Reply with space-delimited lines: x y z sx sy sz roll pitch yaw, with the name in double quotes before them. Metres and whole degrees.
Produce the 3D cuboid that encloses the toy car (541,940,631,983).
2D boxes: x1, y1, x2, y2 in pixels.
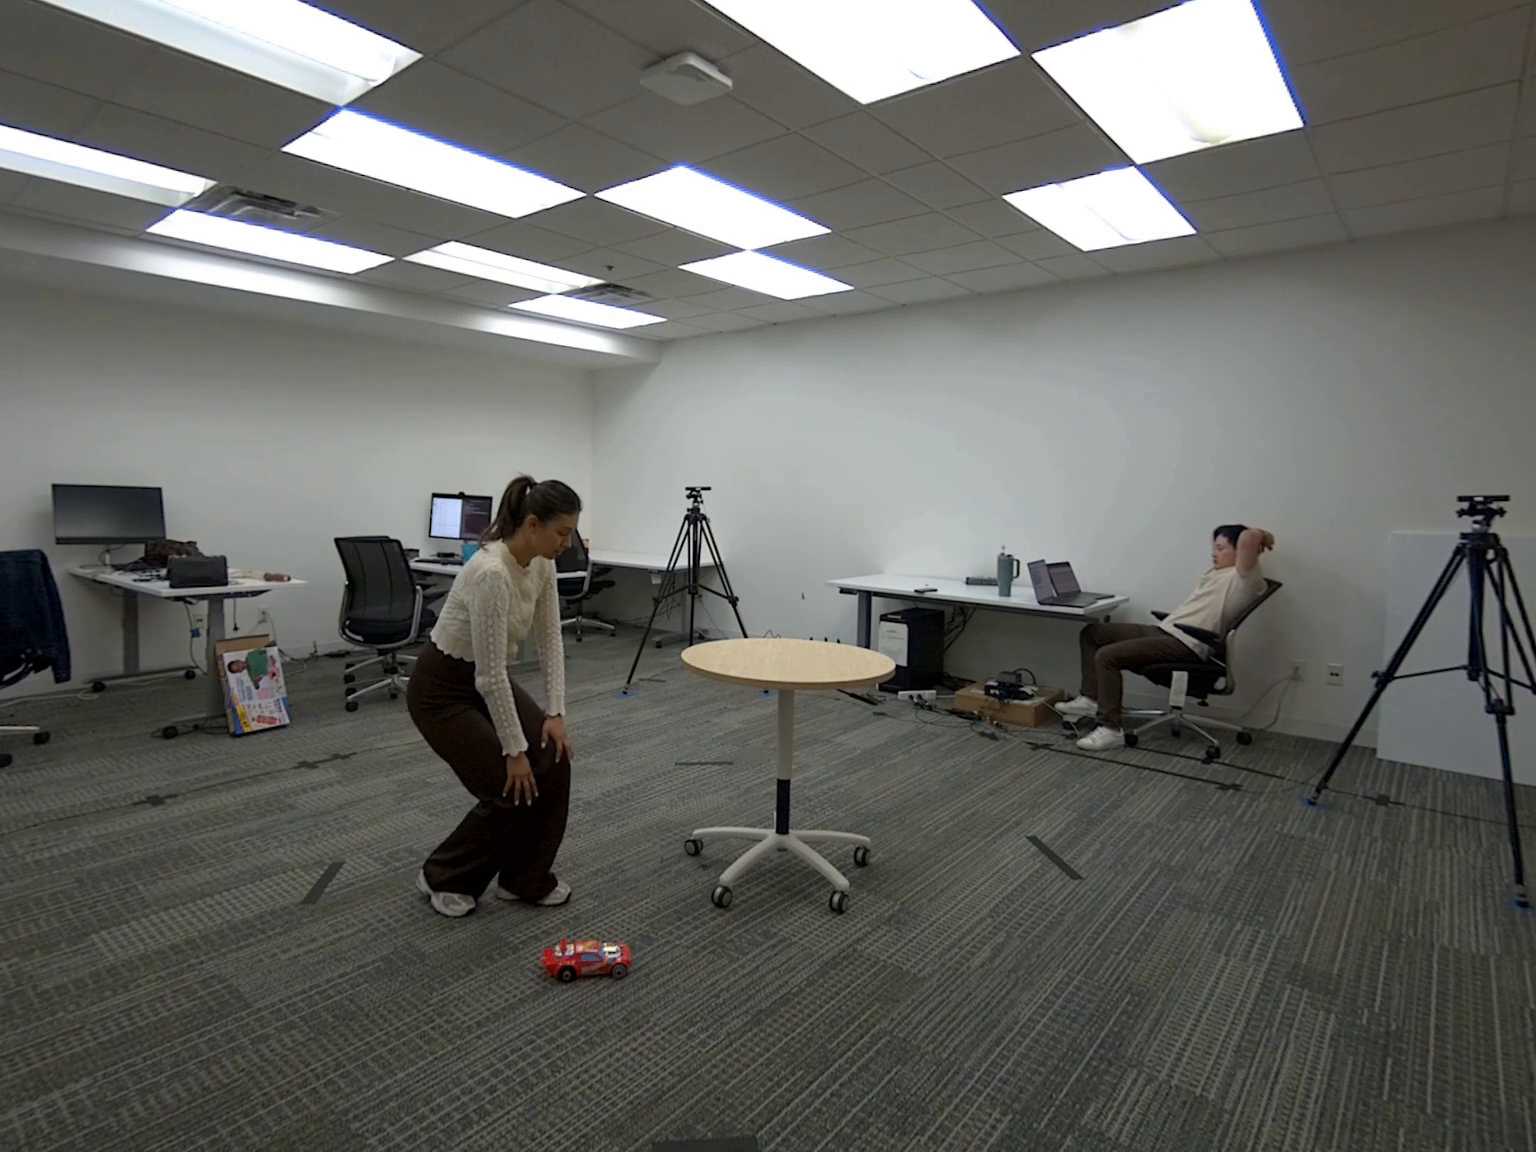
"toy car" -0.534 1.099 2.431 0.251 0.083 0.132 11 2 -10
